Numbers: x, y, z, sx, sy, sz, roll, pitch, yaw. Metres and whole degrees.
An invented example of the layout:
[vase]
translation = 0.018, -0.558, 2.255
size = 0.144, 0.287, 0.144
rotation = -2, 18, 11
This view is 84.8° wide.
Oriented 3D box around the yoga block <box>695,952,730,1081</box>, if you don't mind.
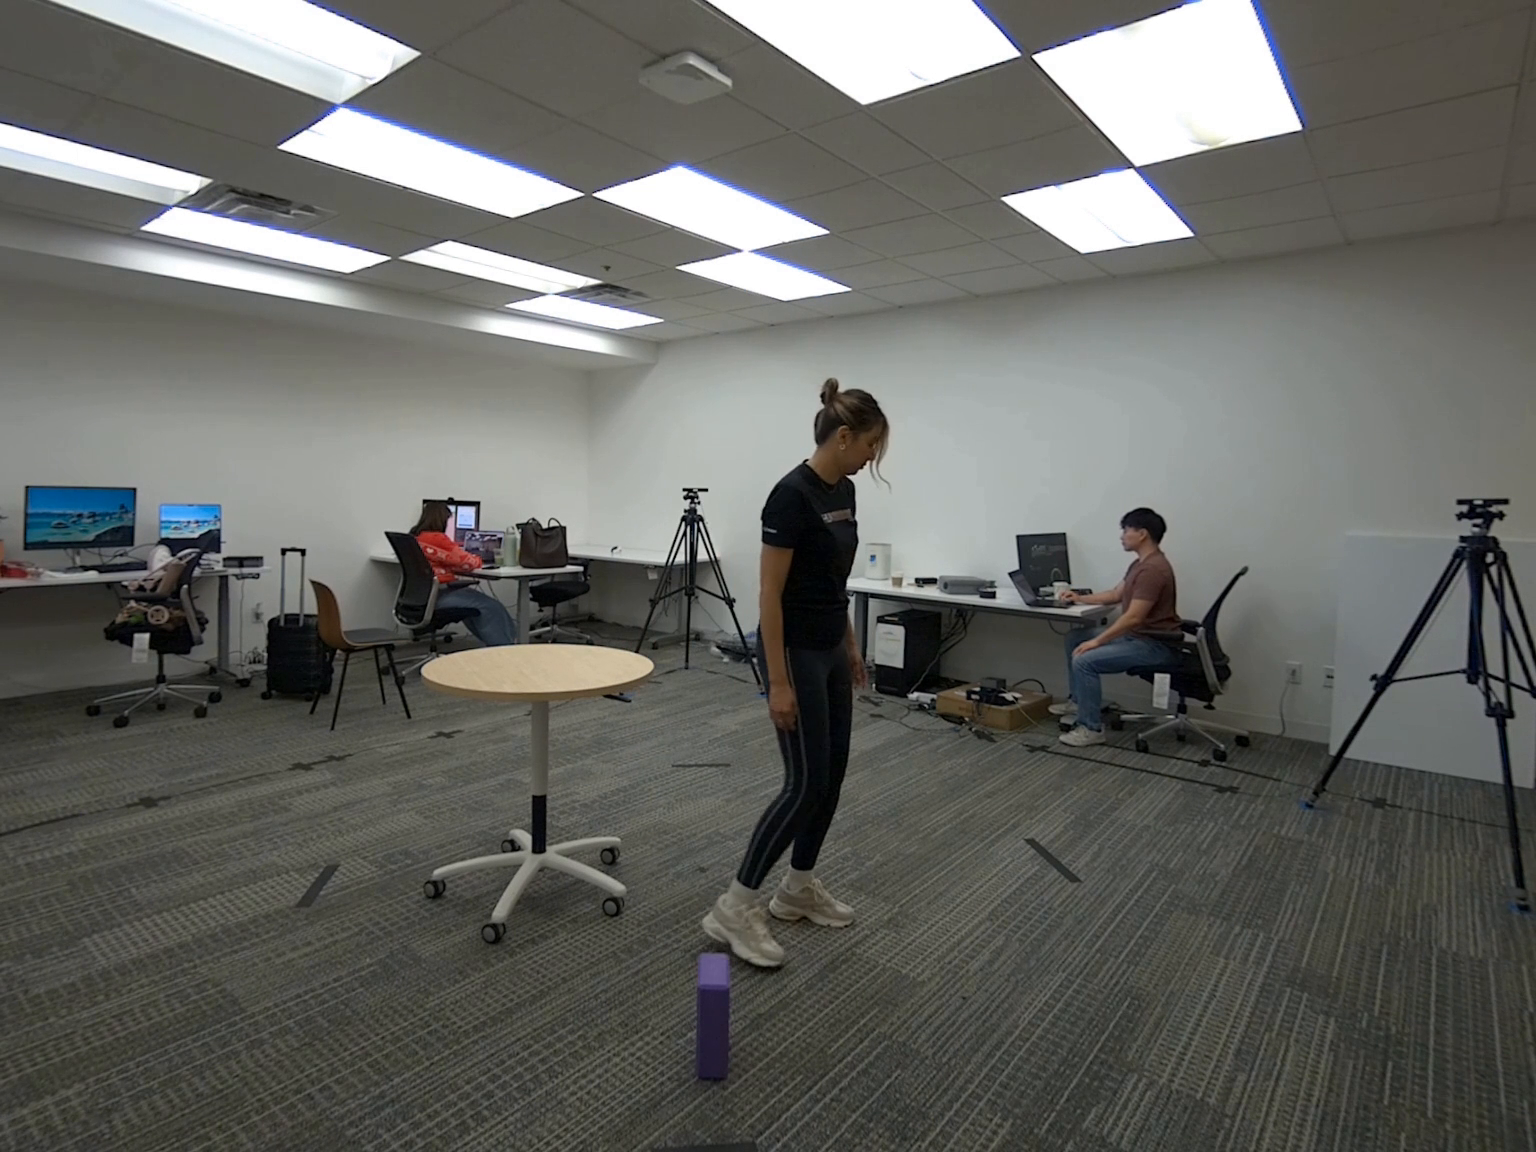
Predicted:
[yoga block]
translation = -0.137, 1.061, 2.063
size = 0.076, 0.228, 0.150
rotation = 3, 5, -2
